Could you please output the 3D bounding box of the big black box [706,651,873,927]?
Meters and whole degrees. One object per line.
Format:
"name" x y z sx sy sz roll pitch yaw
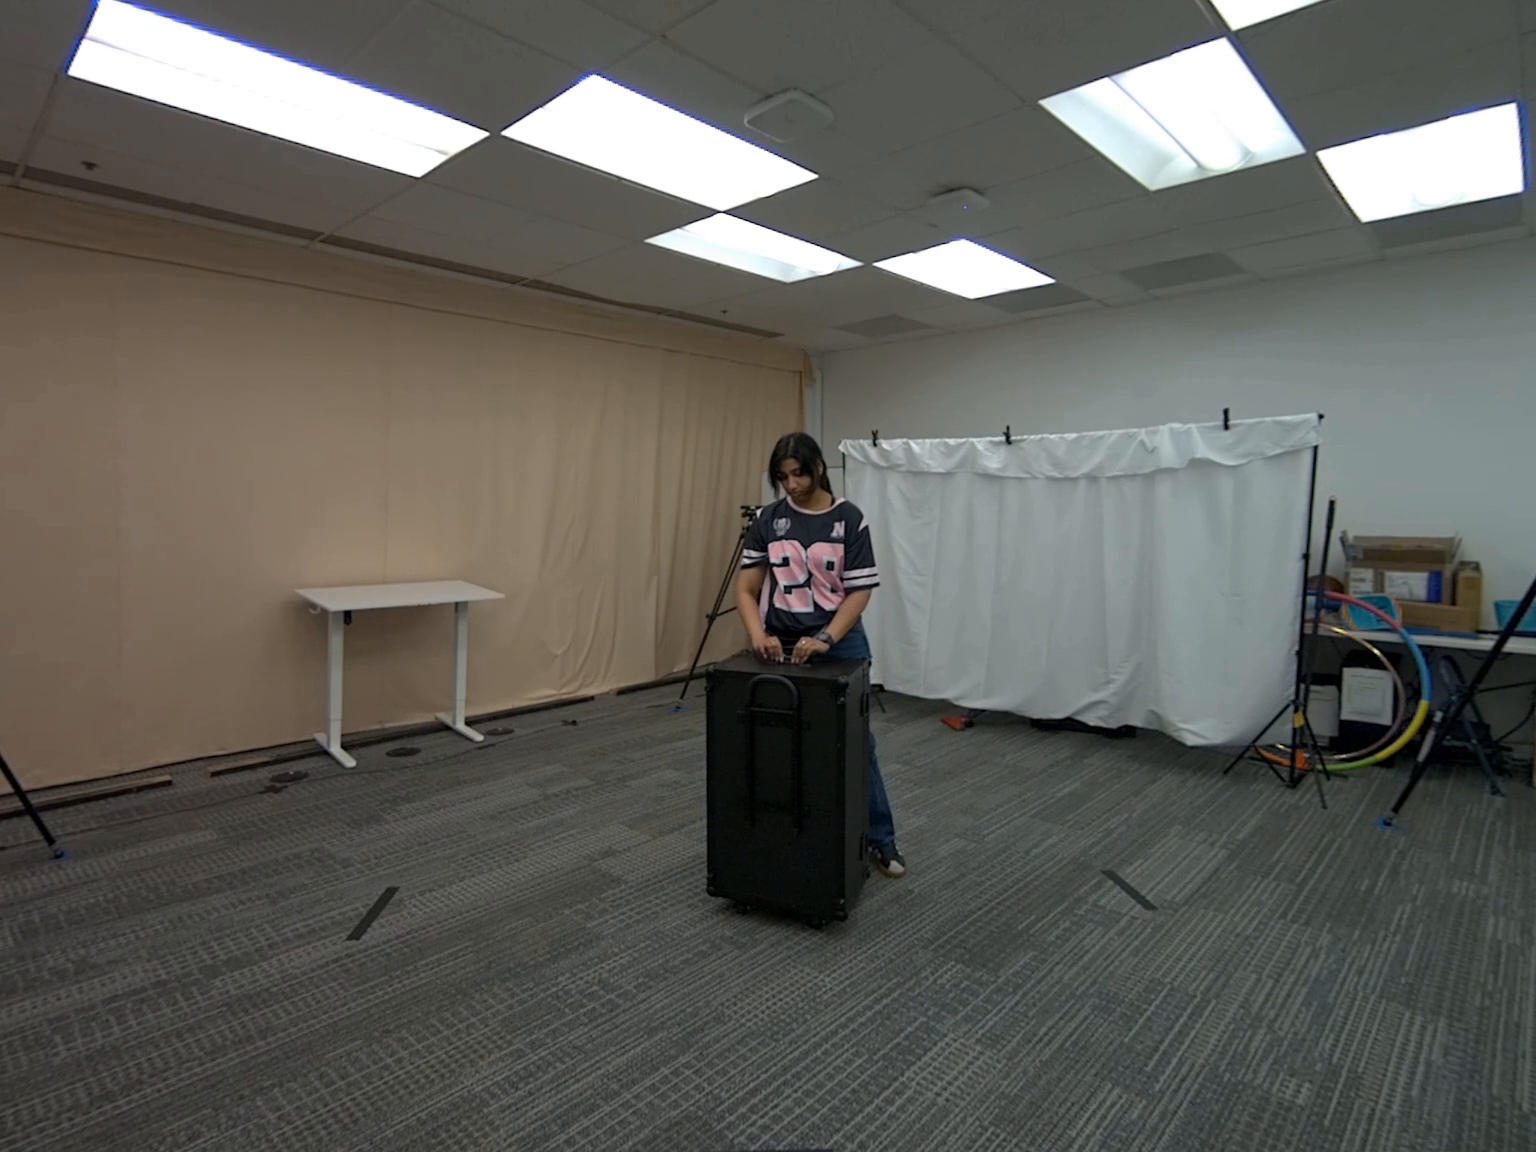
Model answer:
"big black box" 0.080 0.731 2.894 0.533 0.859 0.388 1 4 21
